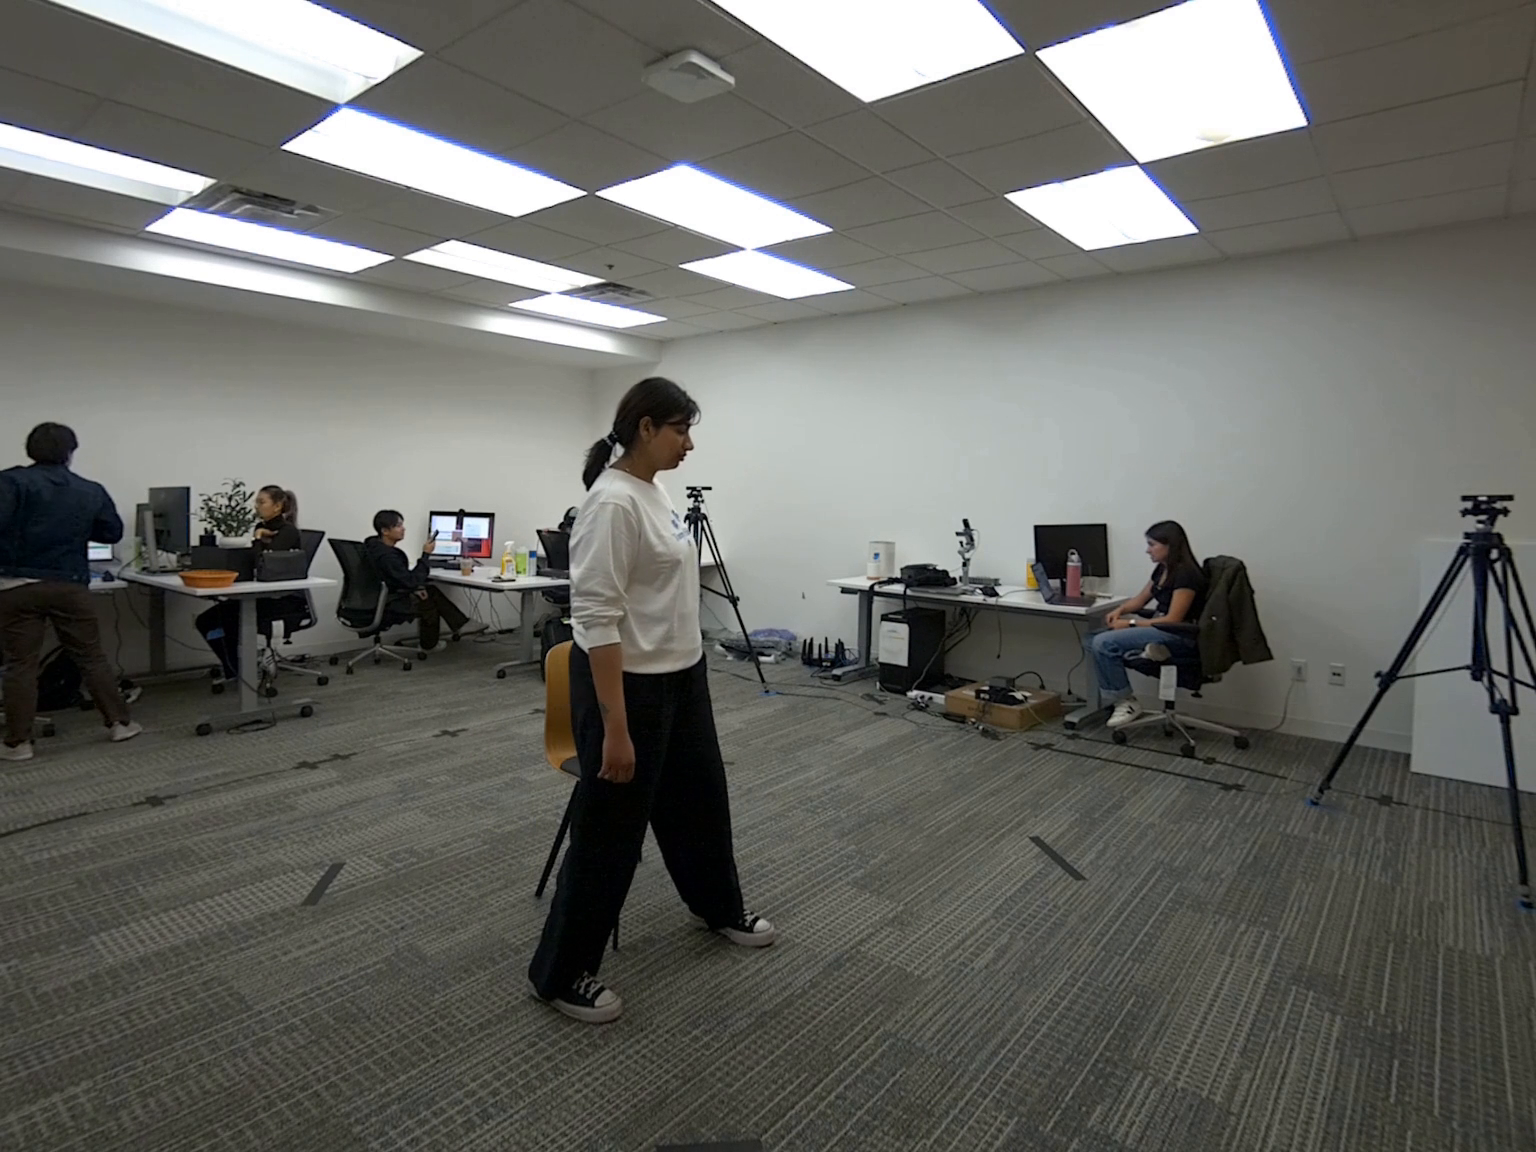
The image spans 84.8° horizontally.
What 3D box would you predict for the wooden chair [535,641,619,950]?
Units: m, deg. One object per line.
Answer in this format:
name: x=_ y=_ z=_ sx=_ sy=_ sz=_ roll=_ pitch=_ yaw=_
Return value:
wooden chair: x=-0.448 y=0.658 z=2.827 sx=0.463 sy=0.877 sz=0.539 roll=-2 pitch=0 yaw=-45
